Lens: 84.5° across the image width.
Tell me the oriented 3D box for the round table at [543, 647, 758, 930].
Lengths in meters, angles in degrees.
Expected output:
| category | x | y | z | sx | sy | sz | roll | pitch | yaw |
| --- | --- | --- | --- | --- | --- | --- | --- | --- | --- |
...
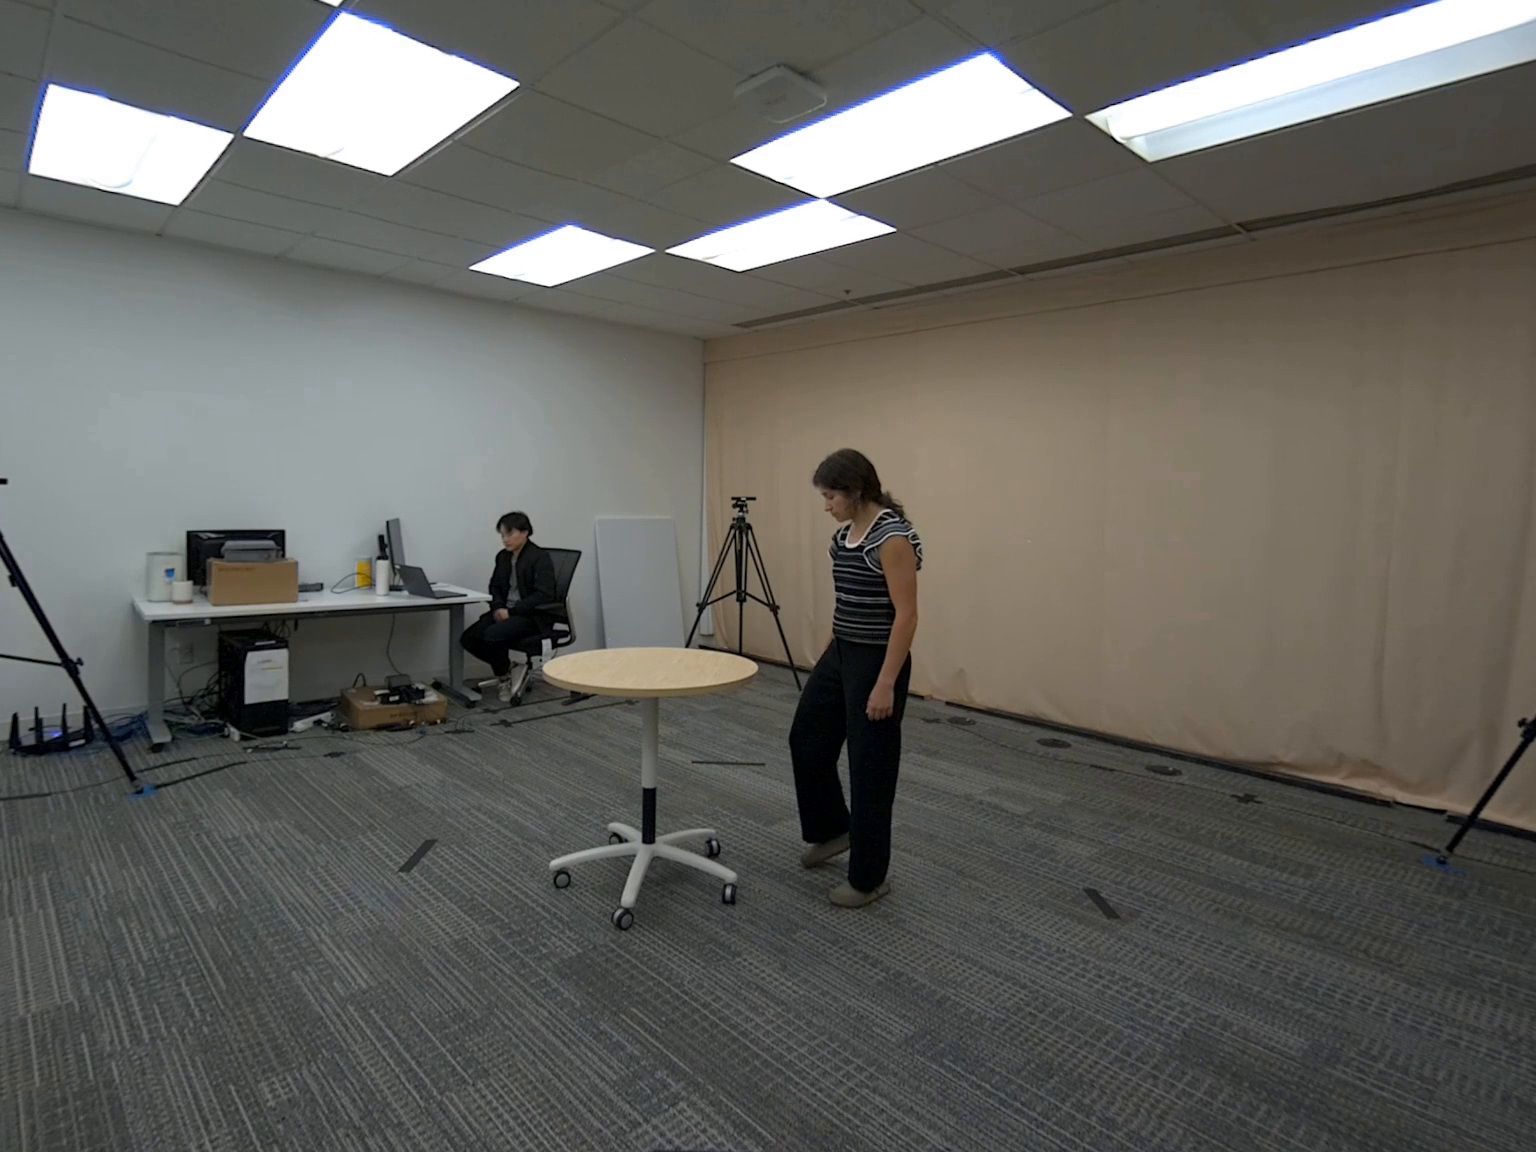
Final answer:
| category | x | y | z | sx | sy | sz | roll | pitch | yaw |
| --- | --- | --- | --- | --- | --- | --- | --- | --- | --- |
| round table | -0.418 | 0.708 | 3.025 | 0.784 | 0.784 | 0.788 | 1 | 4 | -1 |
